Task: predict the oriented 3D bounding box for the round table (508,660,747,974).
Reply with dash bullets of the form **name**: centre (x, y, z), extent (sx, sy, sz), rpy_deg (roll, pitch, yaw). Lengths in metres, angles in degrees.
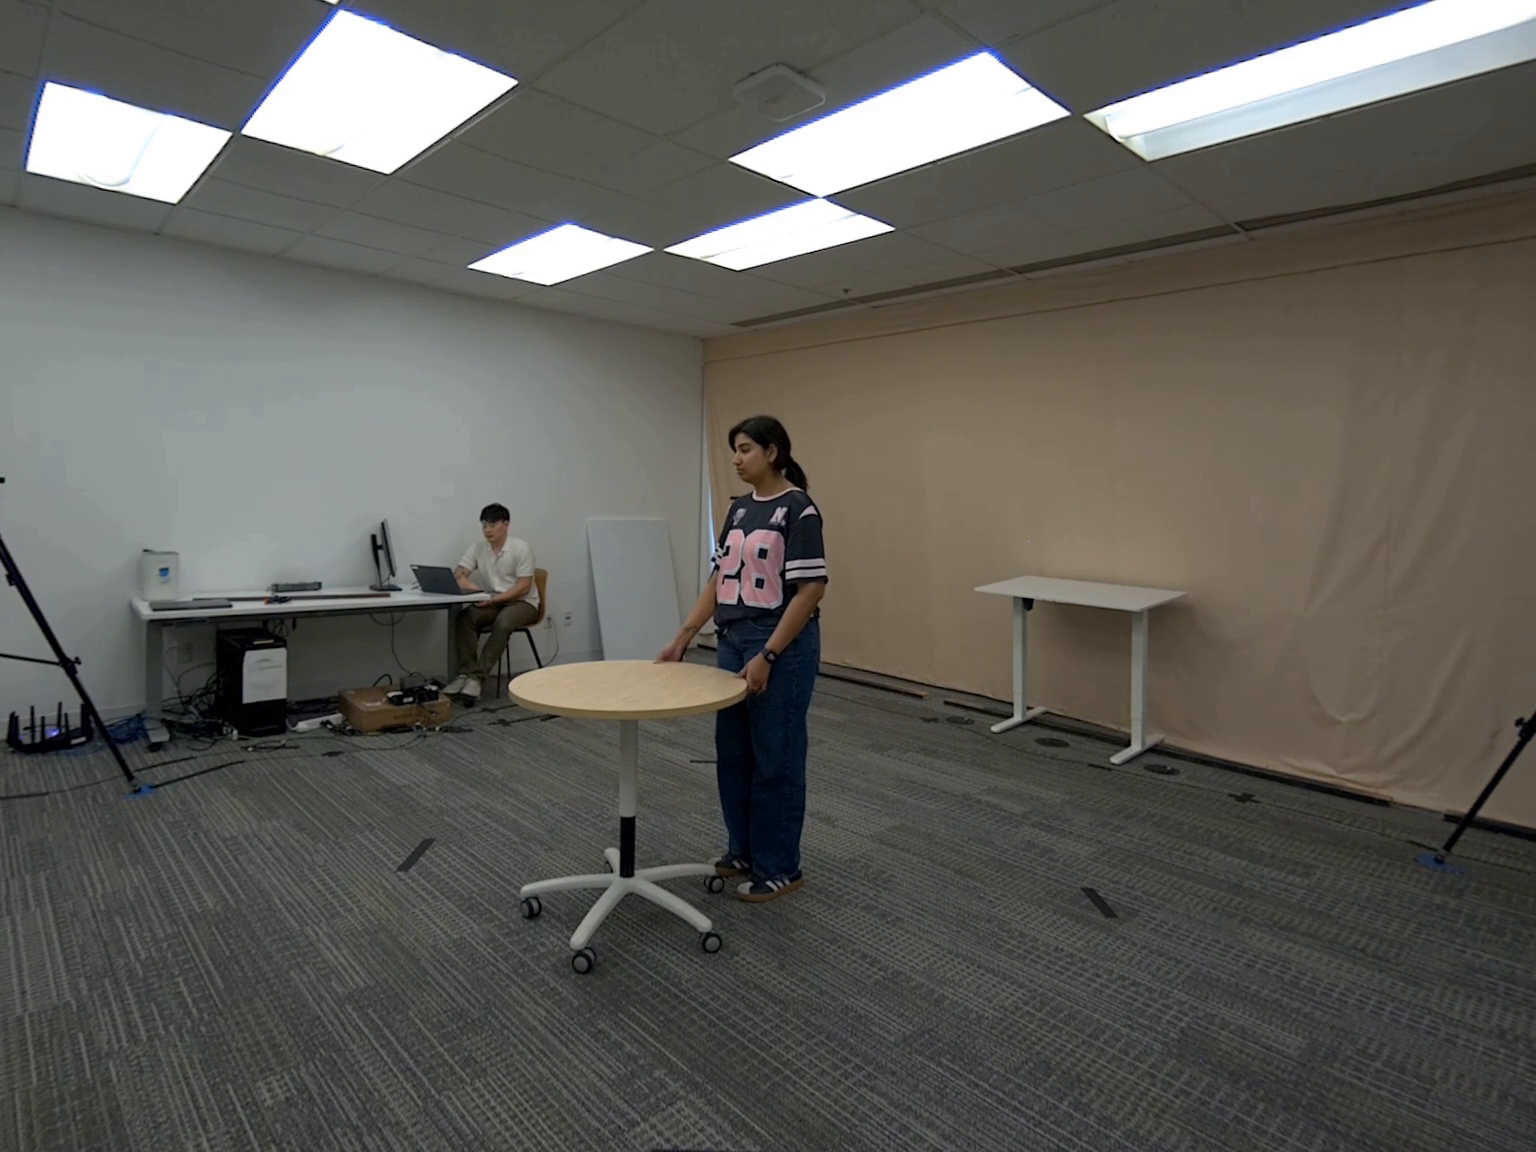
- **round table**: centre (-0.451, 0.735, 2.762), extent (0.784, 0.784, 0.788), rpy_deg (1, 4, -1)
